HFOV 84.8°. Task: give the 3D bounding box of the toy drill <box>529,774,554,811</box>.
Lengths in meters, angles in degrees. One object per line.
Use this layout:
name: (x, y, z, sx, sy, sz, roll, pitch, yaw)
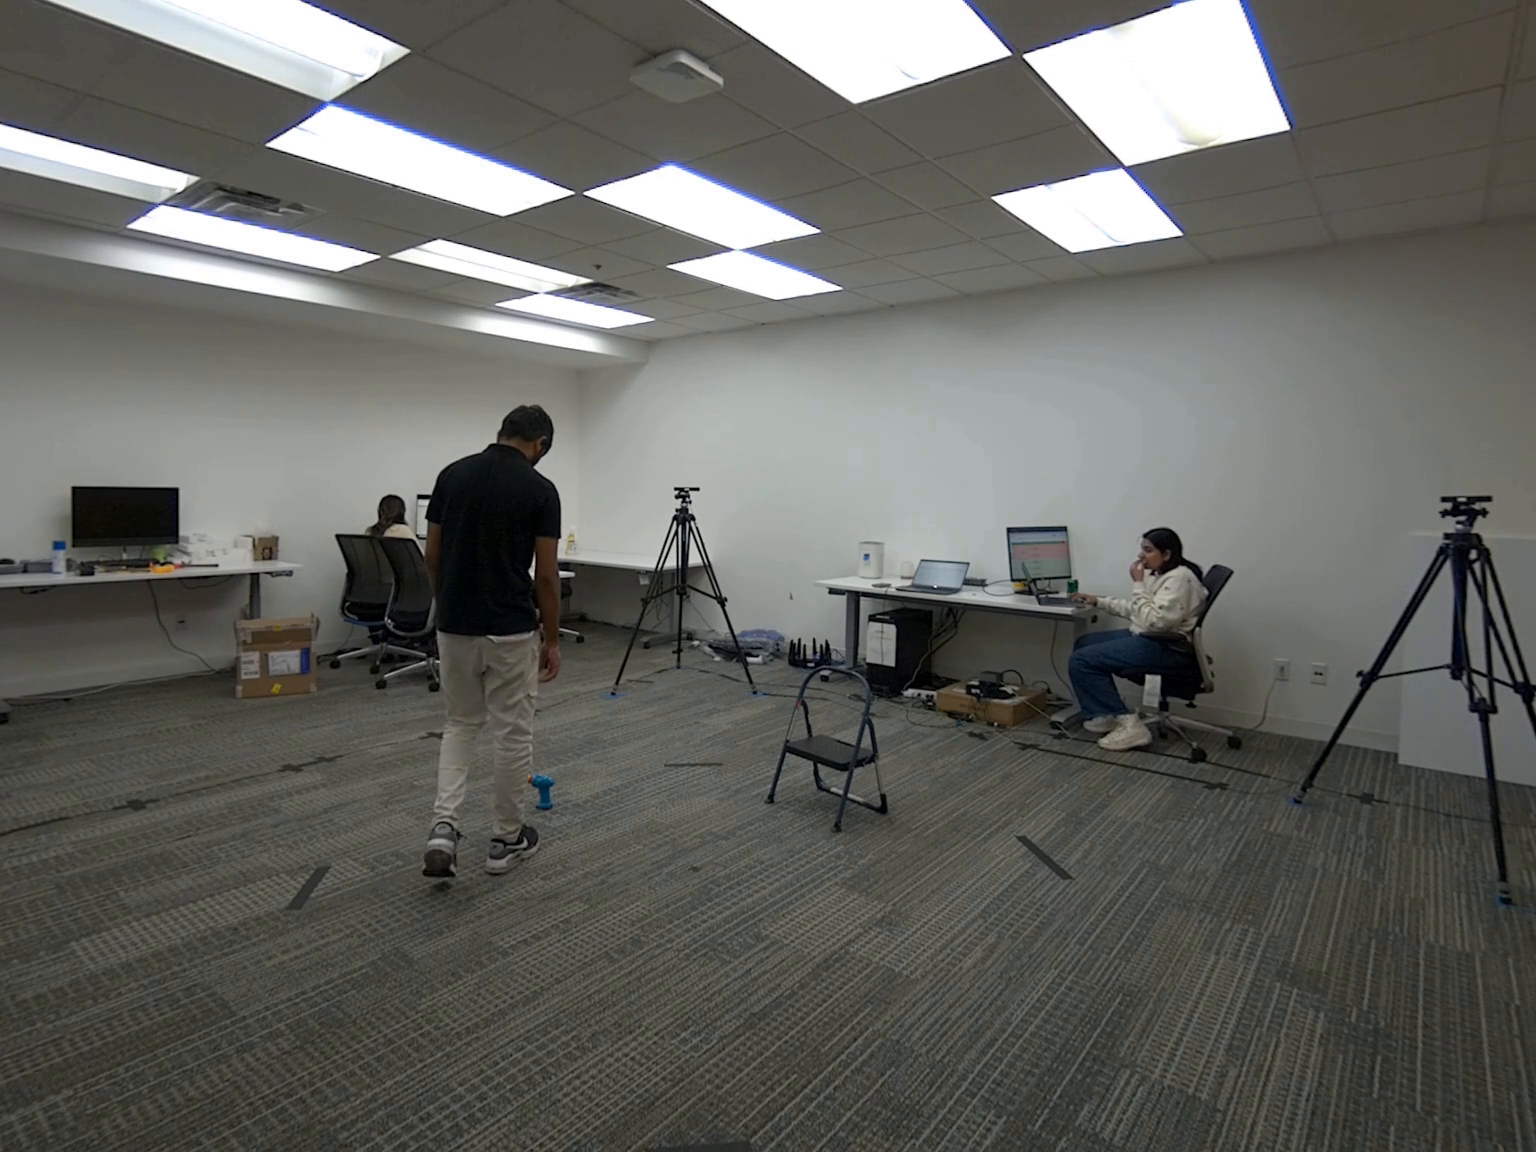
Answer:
toy drill: (-1.018, 0.924, 3.684, 0.173, 0.145, 0.060, 3, 5, 15)
